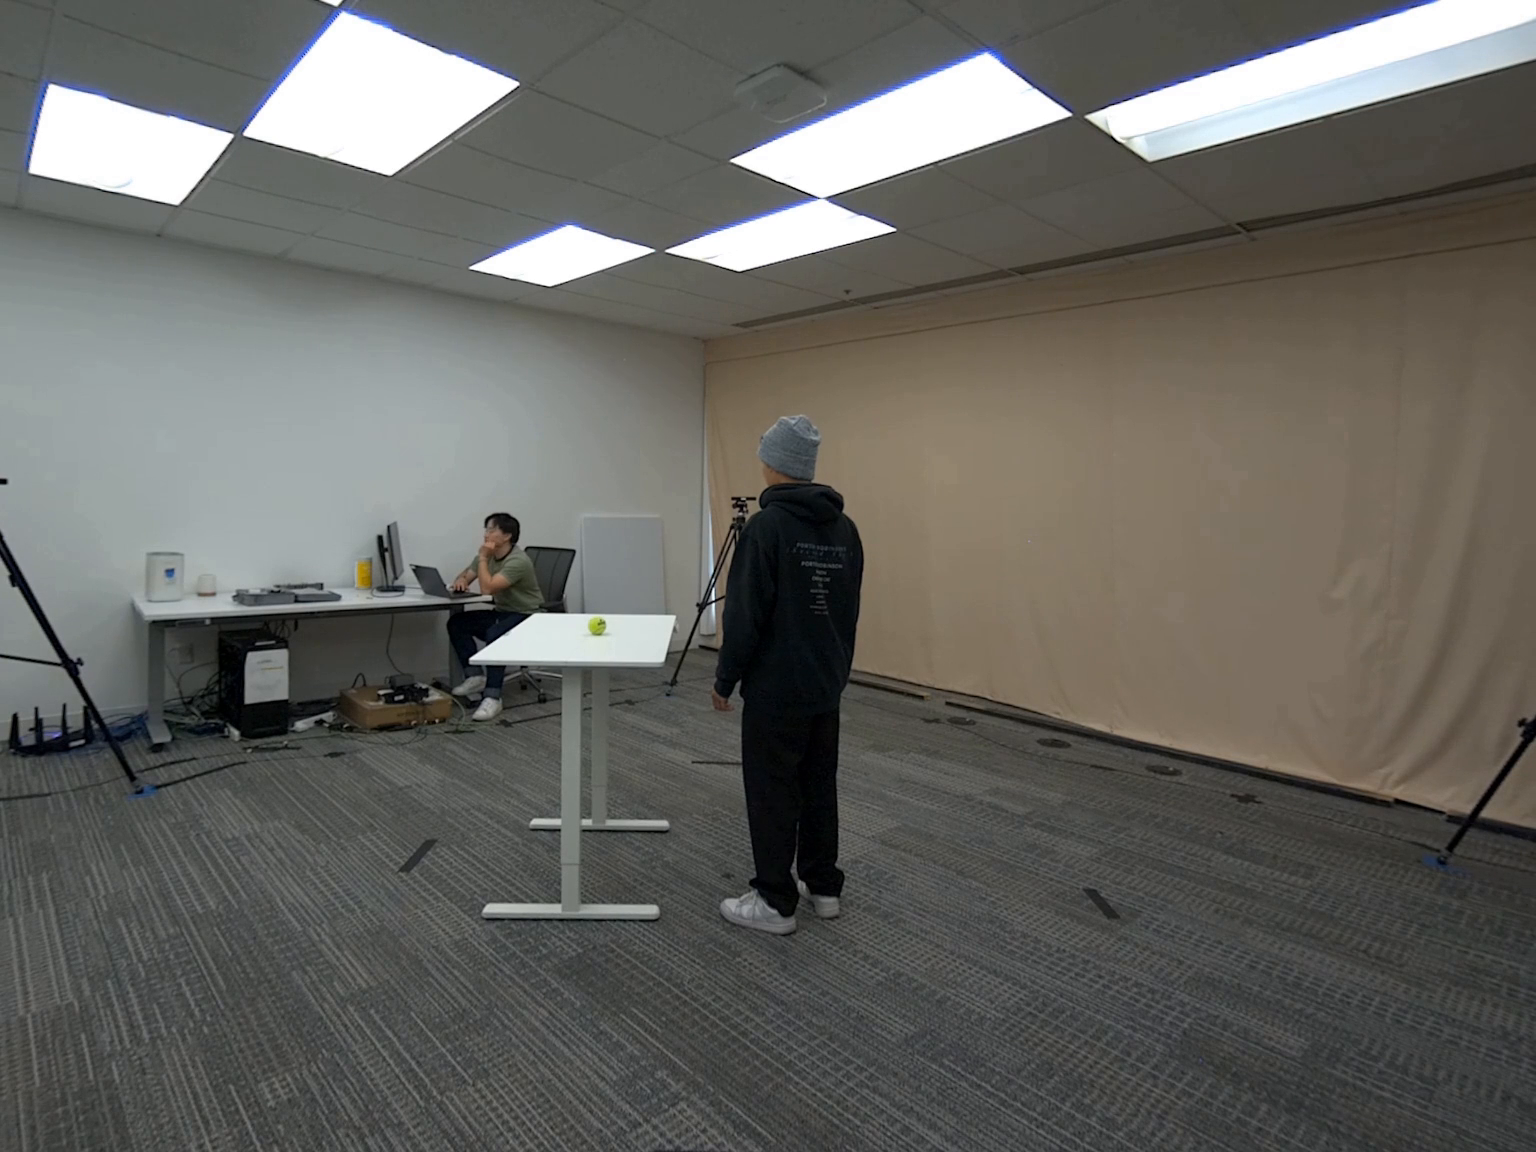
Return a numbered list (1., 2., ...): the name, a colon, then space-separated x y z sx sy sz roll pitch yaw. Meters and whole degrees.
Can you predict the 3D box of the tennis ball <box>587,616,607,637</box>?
1. tennis ball: -0.623 0.181 3.089 0.066 0.066 0.067 1 4 -1
